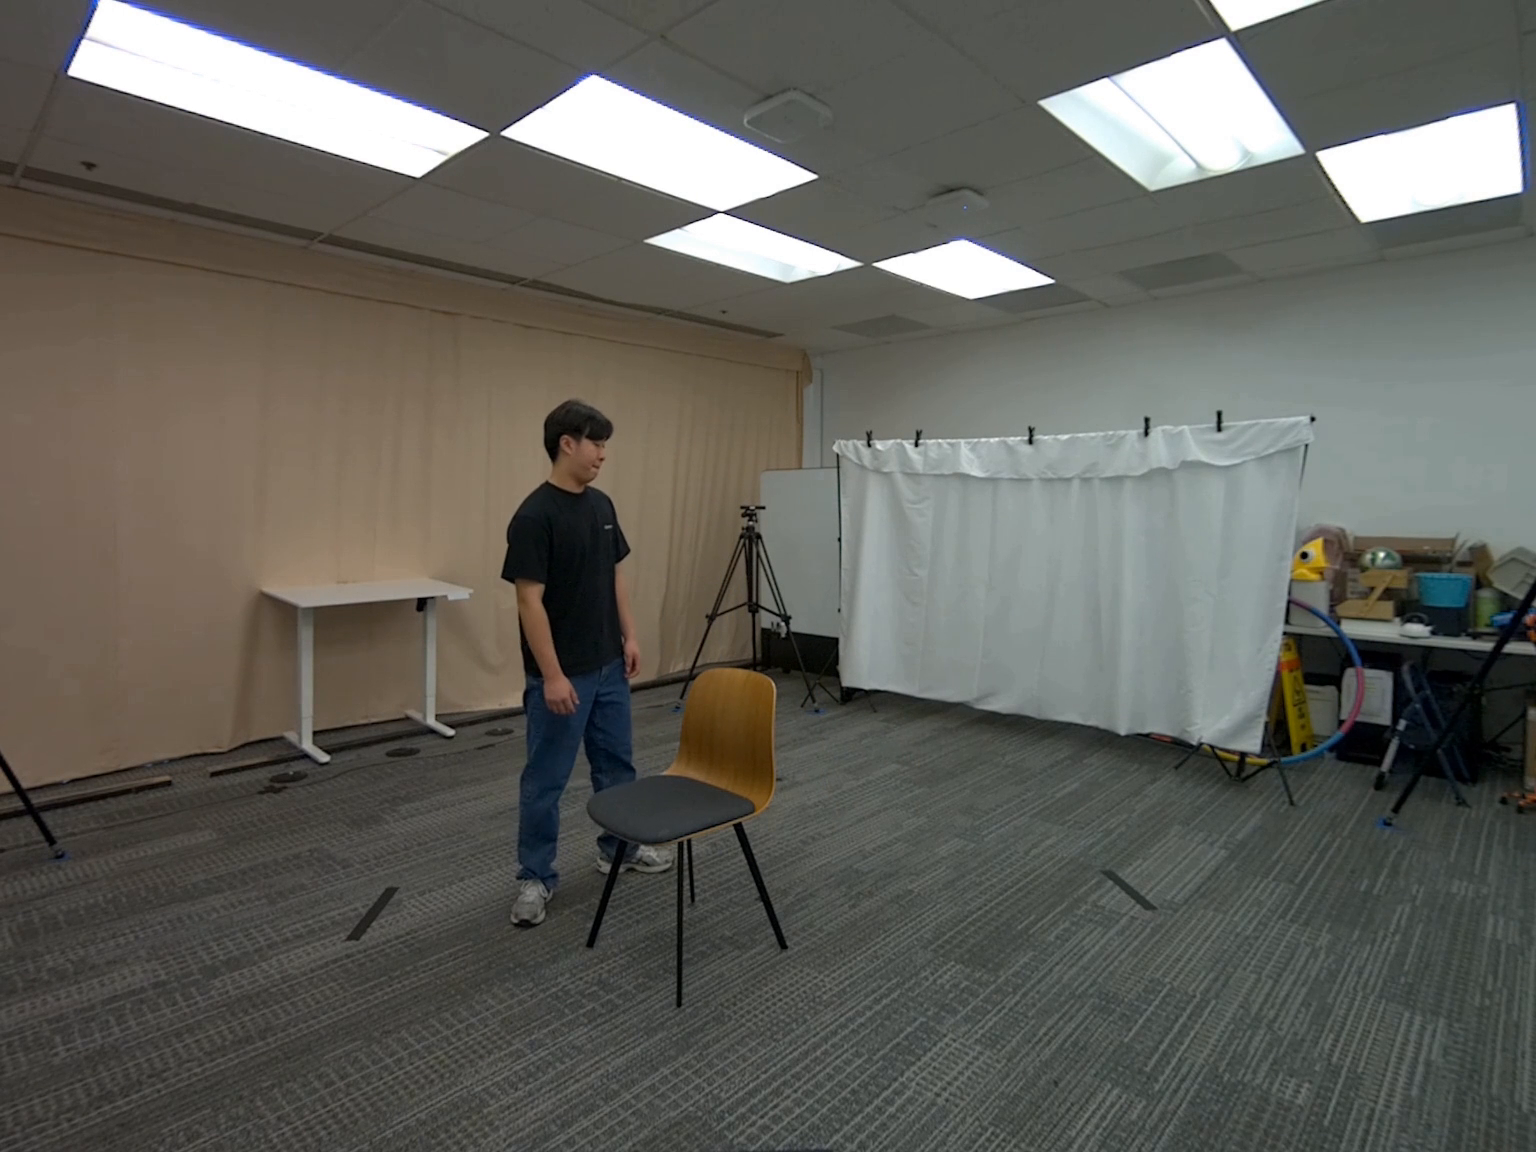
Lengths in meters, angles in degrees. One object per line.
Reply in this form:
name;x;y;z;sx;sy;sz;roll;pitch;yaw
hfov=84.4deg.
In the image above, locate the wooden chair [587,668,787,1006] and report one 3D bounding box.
wooden chair;-0.260;0.747;2.616;0.494;0.877;0.506;3;1;44
